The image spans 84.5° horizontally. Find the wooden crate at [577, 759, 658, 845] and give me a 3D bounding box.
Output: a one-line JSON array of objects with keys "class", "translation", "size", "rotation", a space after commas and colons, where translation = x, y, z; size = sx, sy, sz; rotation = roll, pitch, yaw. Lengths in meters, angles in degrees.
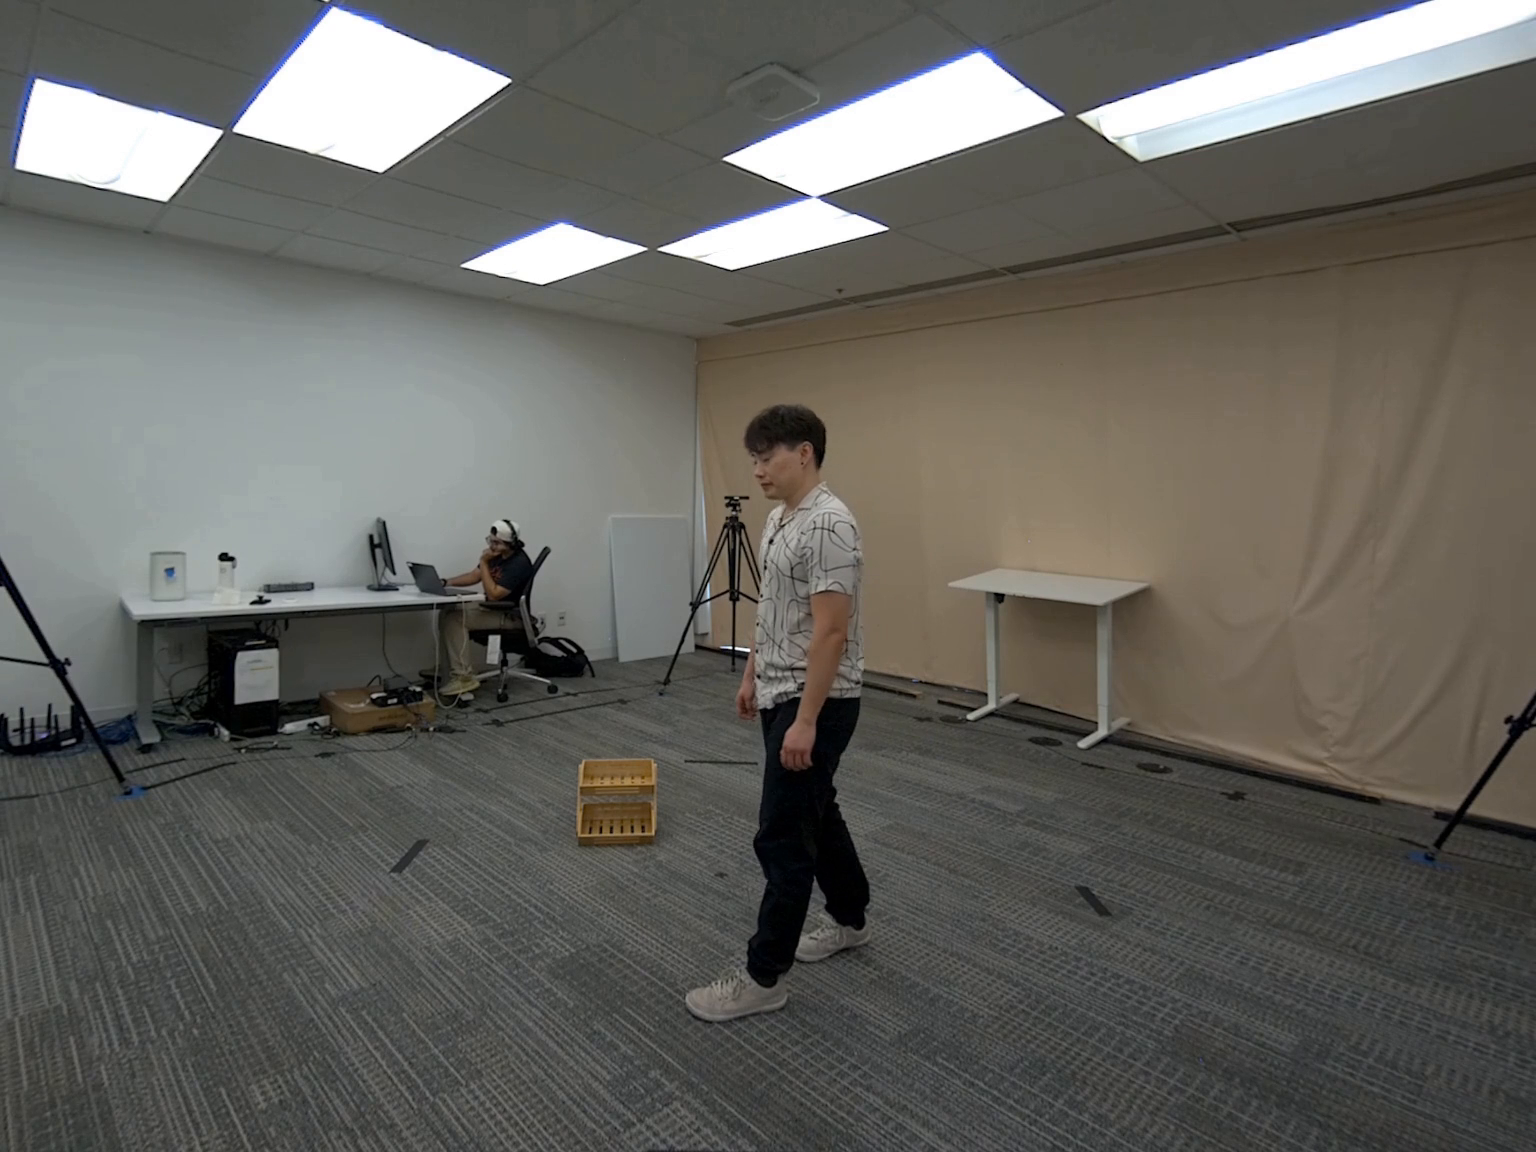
[{"class": "wooden crate", "translation": [-0.628, 0.922, 3.468], "size": [0.322, 0.272, 0.305], "rotation": [1, 4, -8]}]
